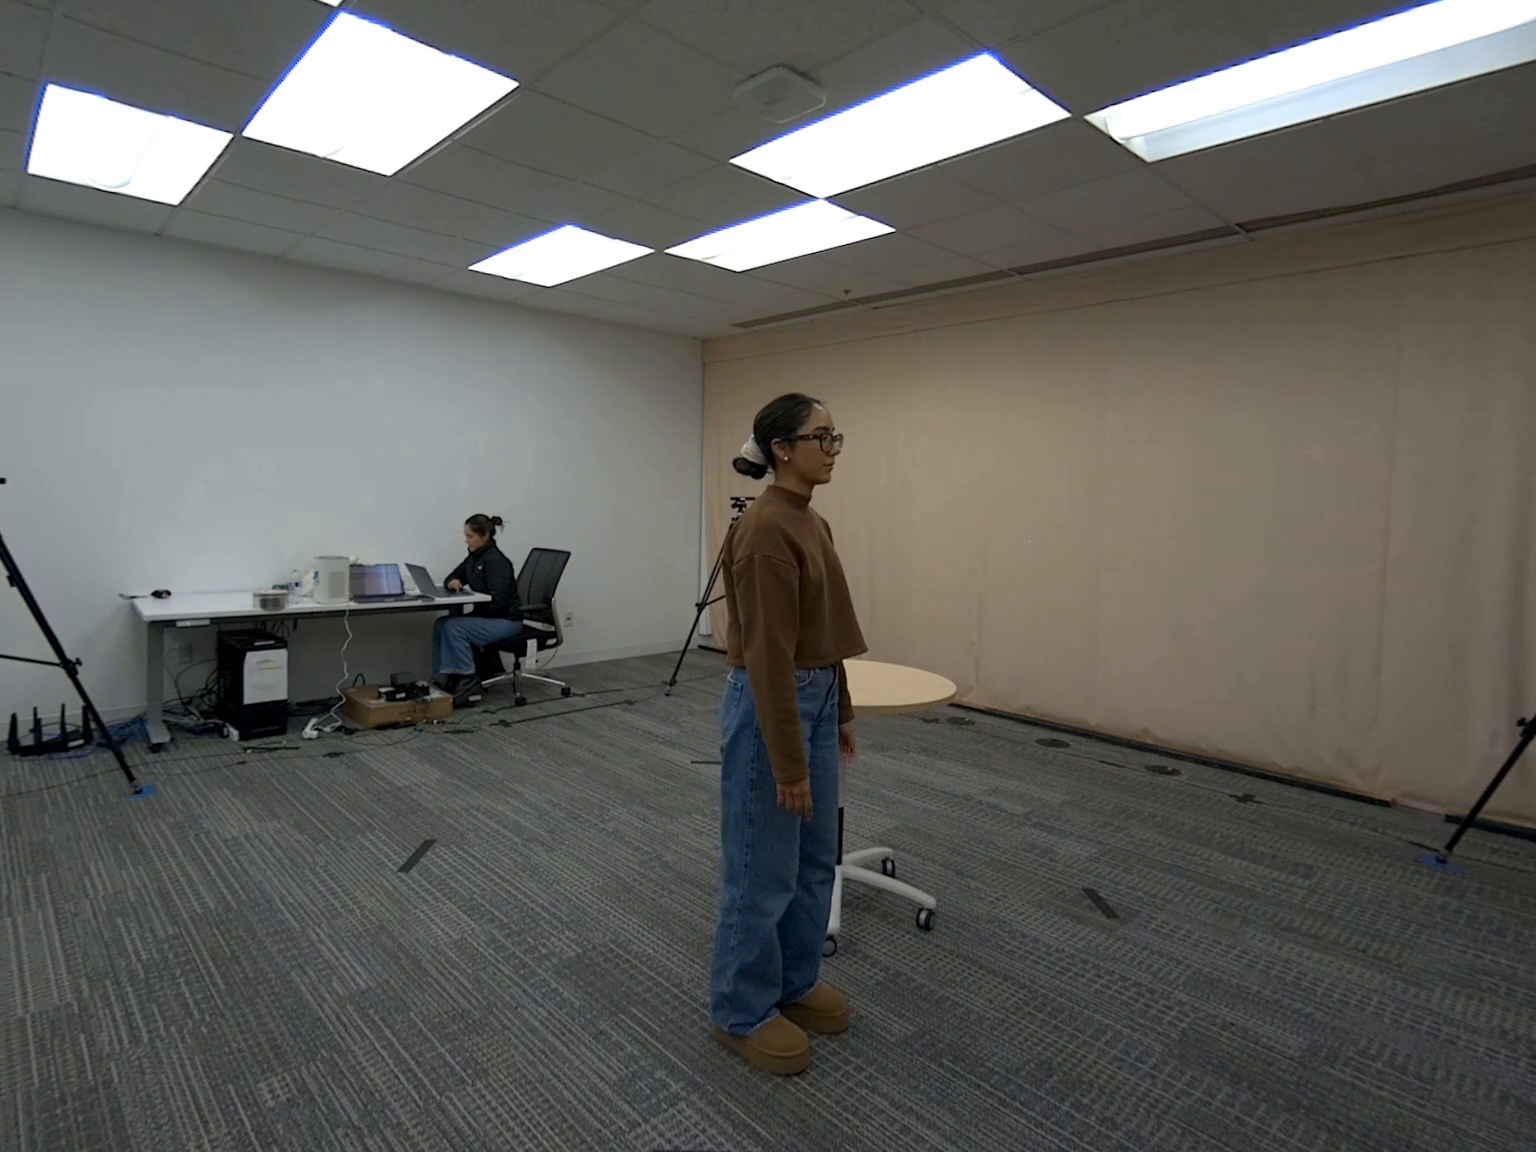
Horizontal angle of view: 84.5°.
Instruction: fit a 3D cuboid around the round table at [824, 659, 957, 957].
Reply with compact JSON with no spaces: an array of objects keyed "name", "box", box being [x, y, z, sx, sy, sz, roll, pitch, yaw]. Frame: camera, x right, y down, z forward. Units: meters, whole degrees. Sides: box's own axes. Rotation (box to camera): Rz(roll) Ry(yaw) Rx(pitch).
[{"name":"round table","box":[0.229,0.739,2.914,0.784,0.784,0.788,2,4,-2]}]
